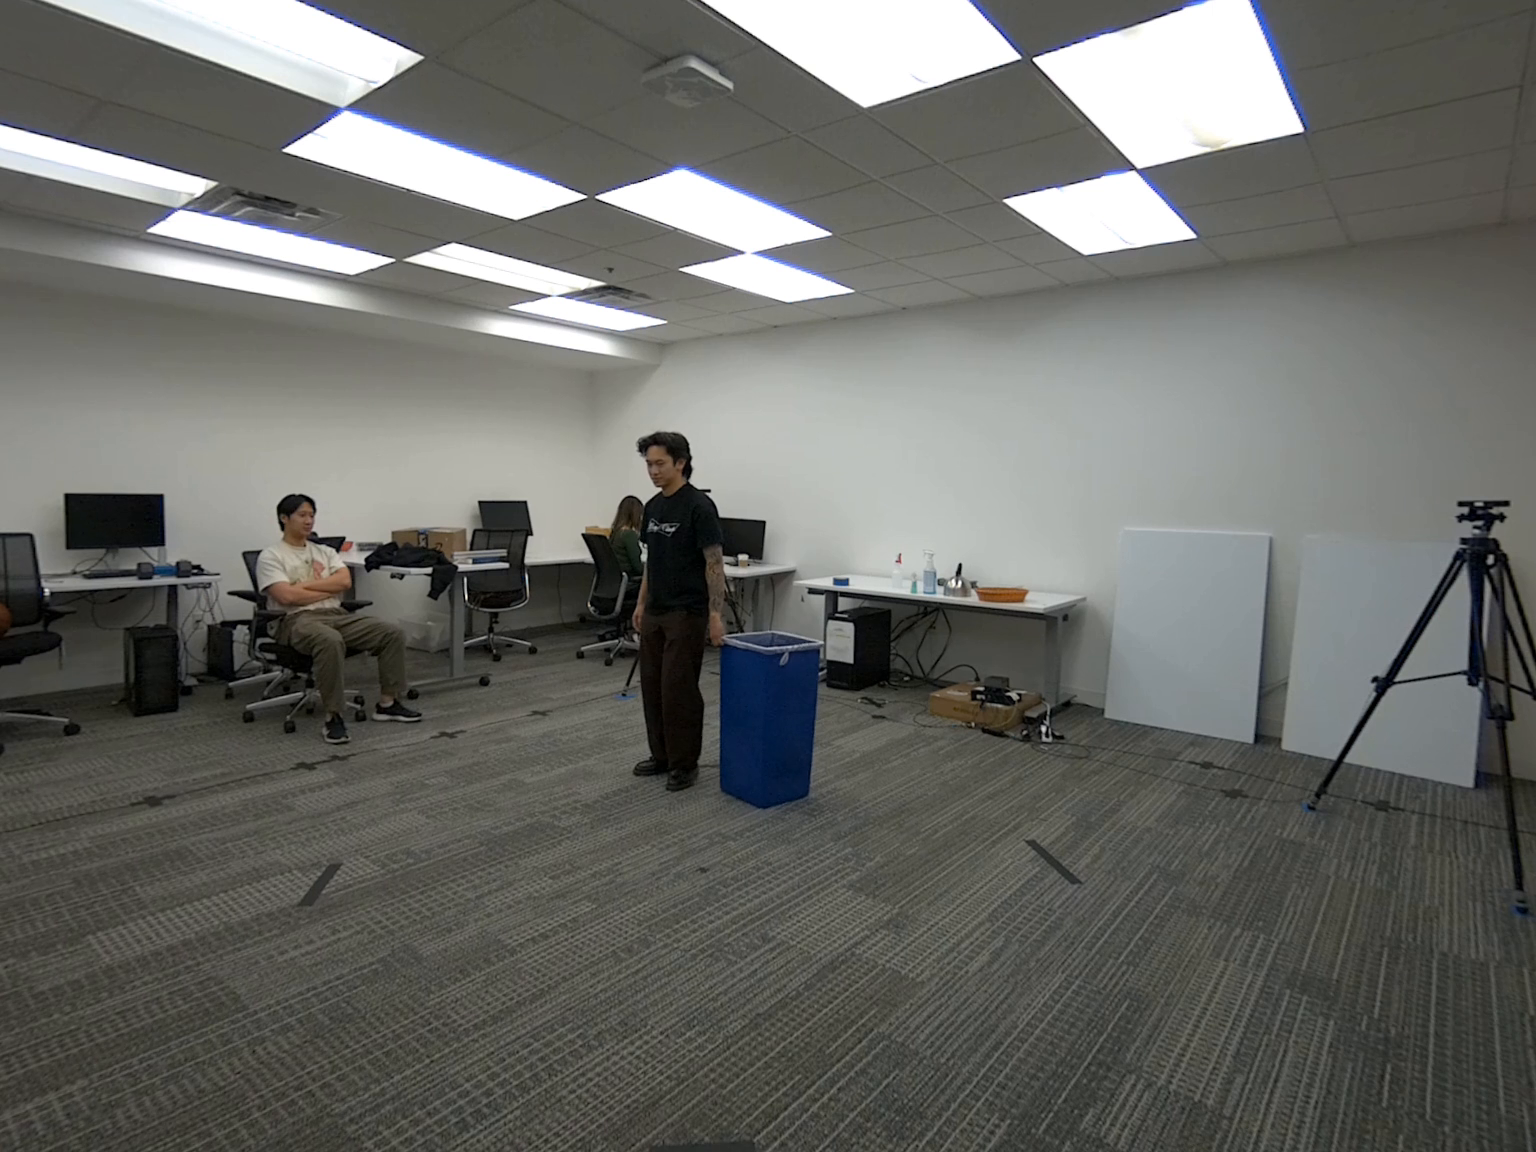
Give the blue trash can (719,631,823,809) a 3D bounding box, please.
[{"bbox_3d":[-0.008,0.633,3.910,0.366,0.711,0.387,-1,4,-41],"label":"blue trash can"}]
